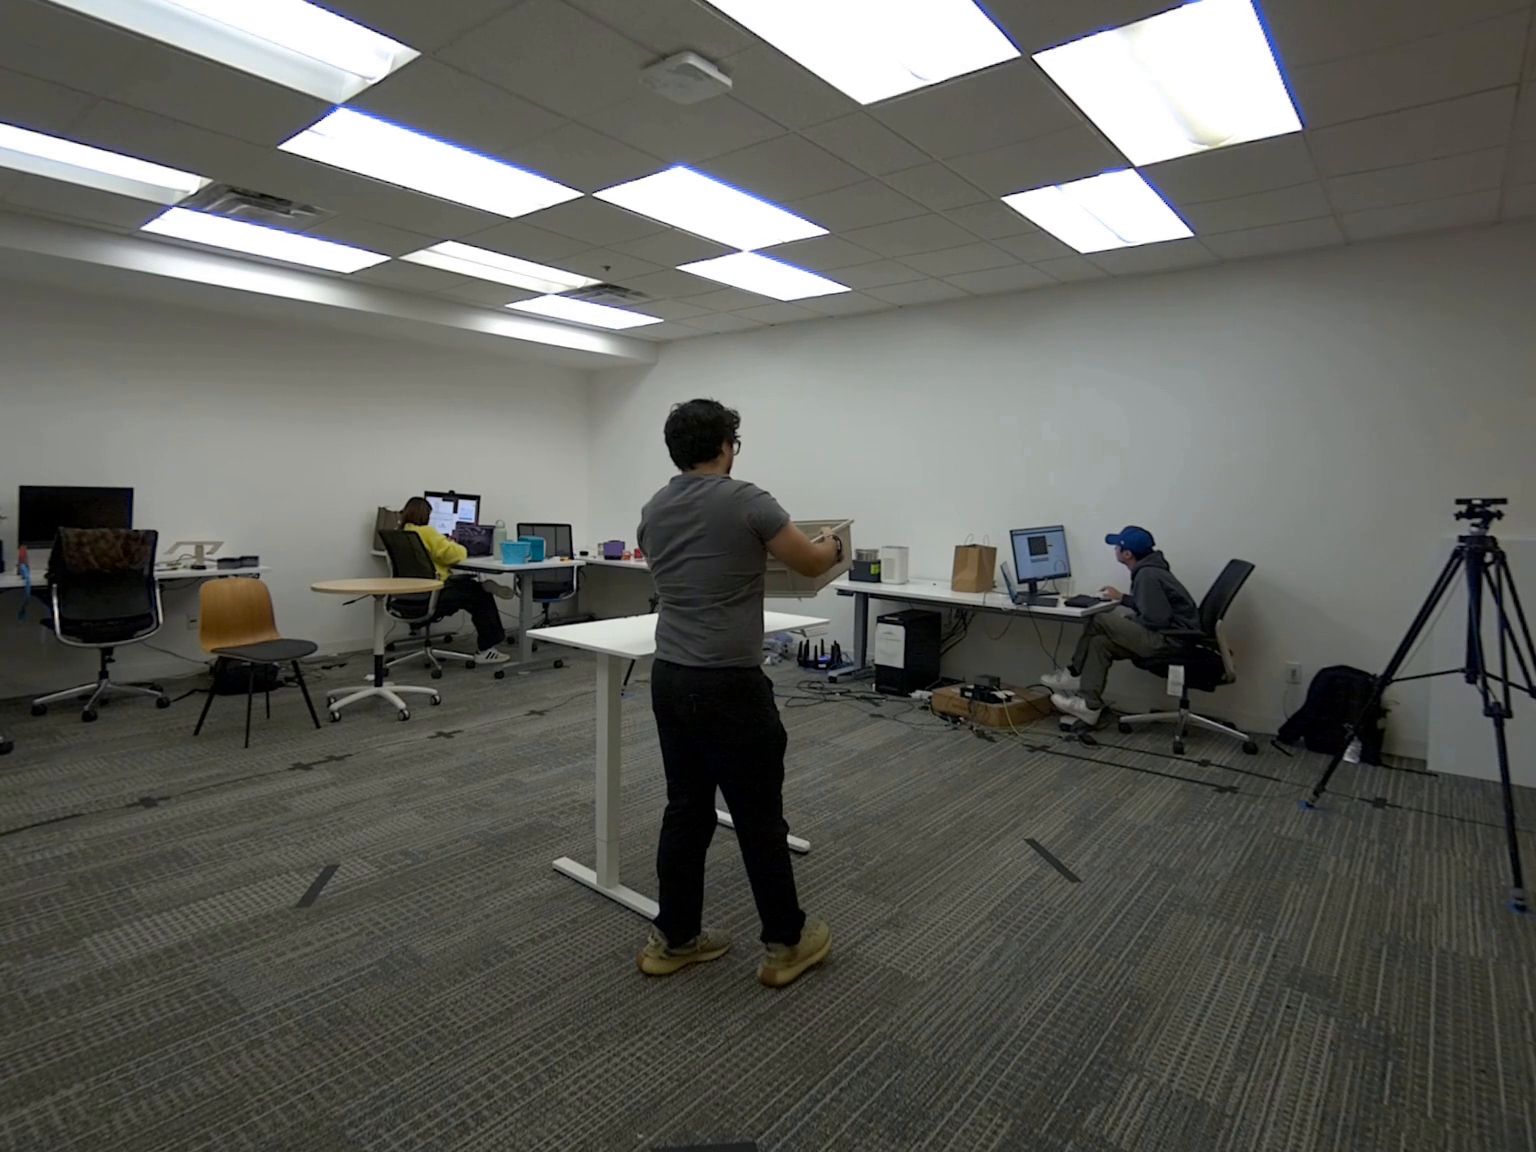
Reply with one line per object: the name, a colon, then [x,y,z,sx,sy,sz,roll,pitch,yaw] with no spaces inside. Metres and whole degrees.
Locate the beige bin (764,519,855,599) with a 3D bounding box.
beige bin: [0.049,-0.066,2.900,0.387,0.187,0.416,0,13,26]
